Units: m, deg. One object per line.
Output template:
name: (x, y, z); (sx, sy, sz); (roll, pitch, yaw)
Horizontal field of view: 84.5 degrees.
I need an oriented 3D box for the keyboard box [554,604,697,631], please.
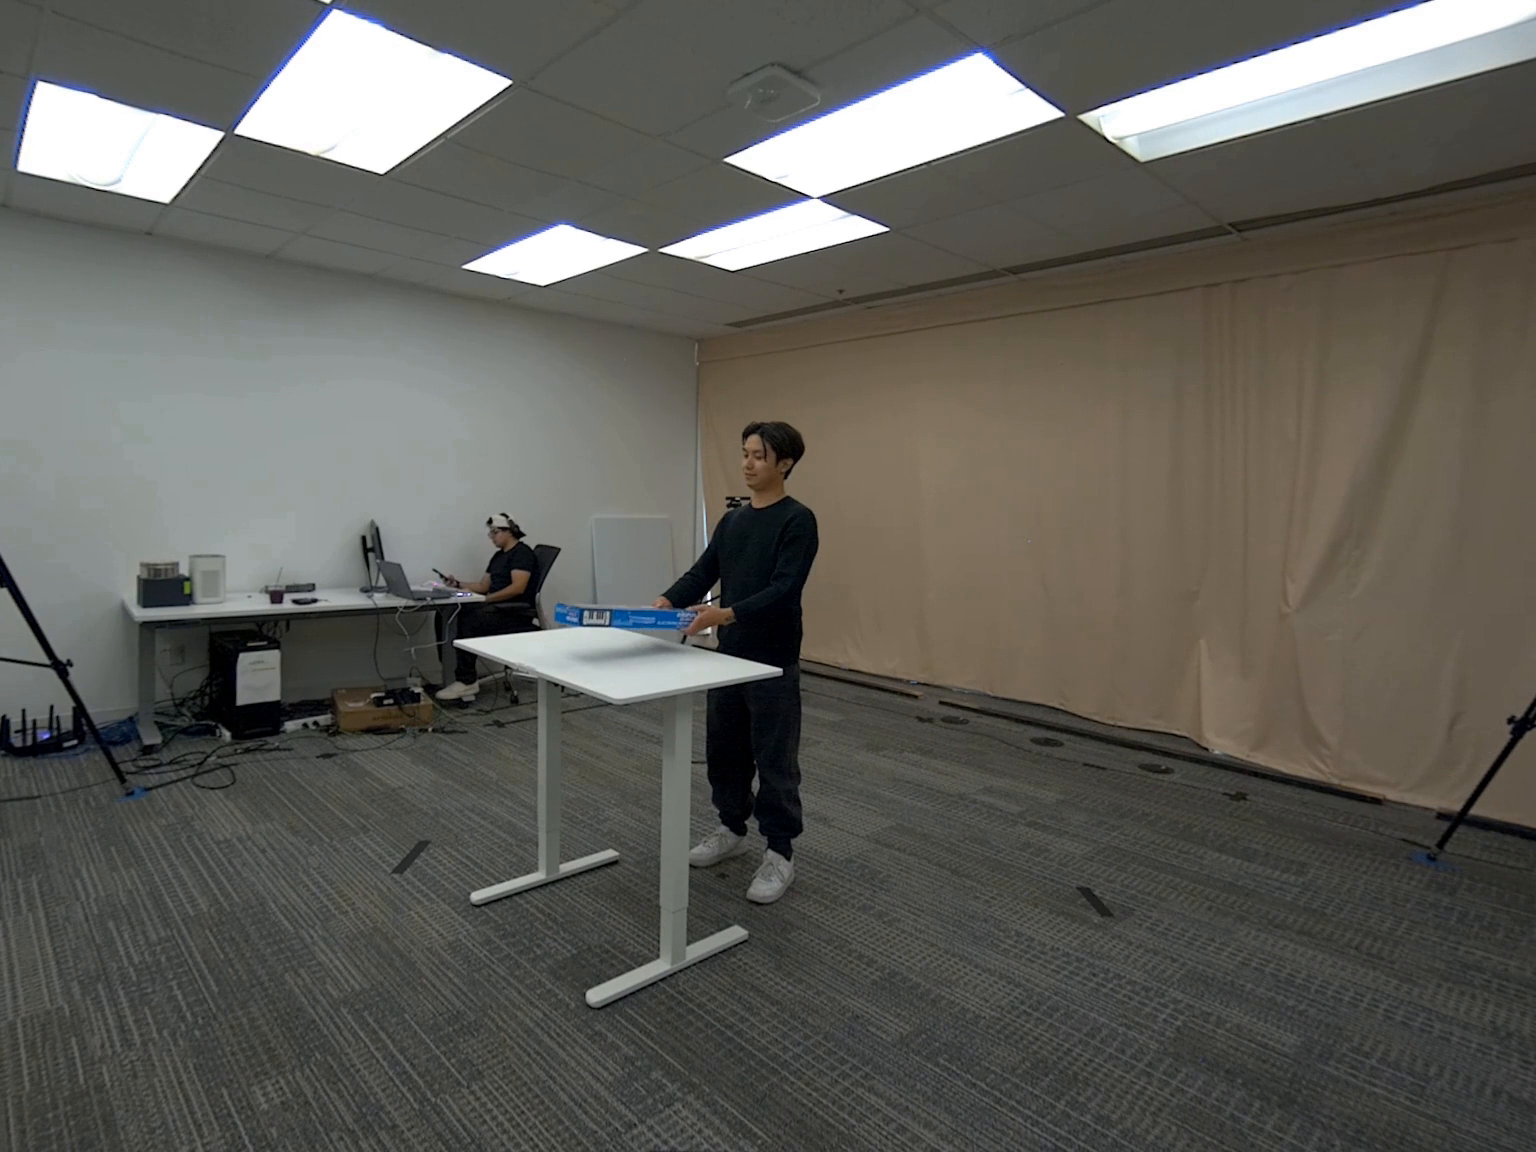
keyboard box: (-0.464, 0.134, 2.722); (0.426, 0.059, 0.180); (5, 0, -39)
